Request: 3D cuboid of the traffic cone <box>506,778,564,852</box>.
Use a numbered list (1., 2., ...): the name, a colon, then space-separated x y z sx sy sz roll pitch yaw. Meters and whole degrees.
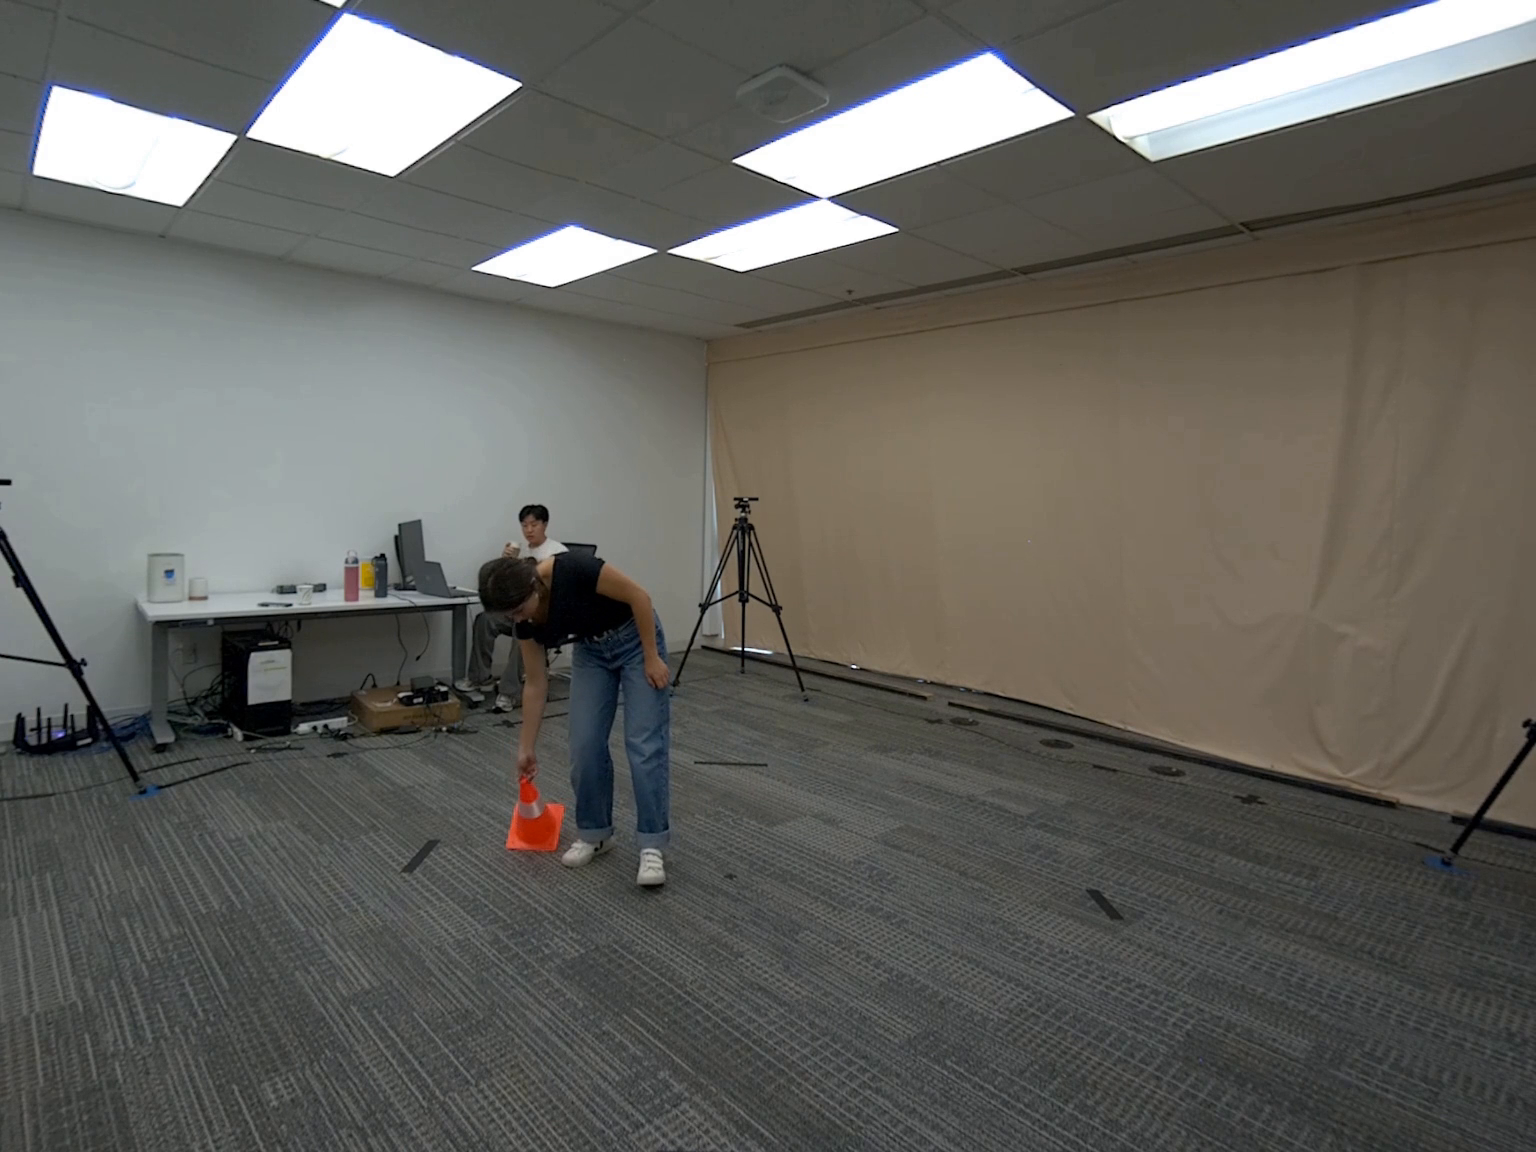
1. traffic cone: -0.916 0.874 3.241 0.203 0.376 0.210 2 46 -5
